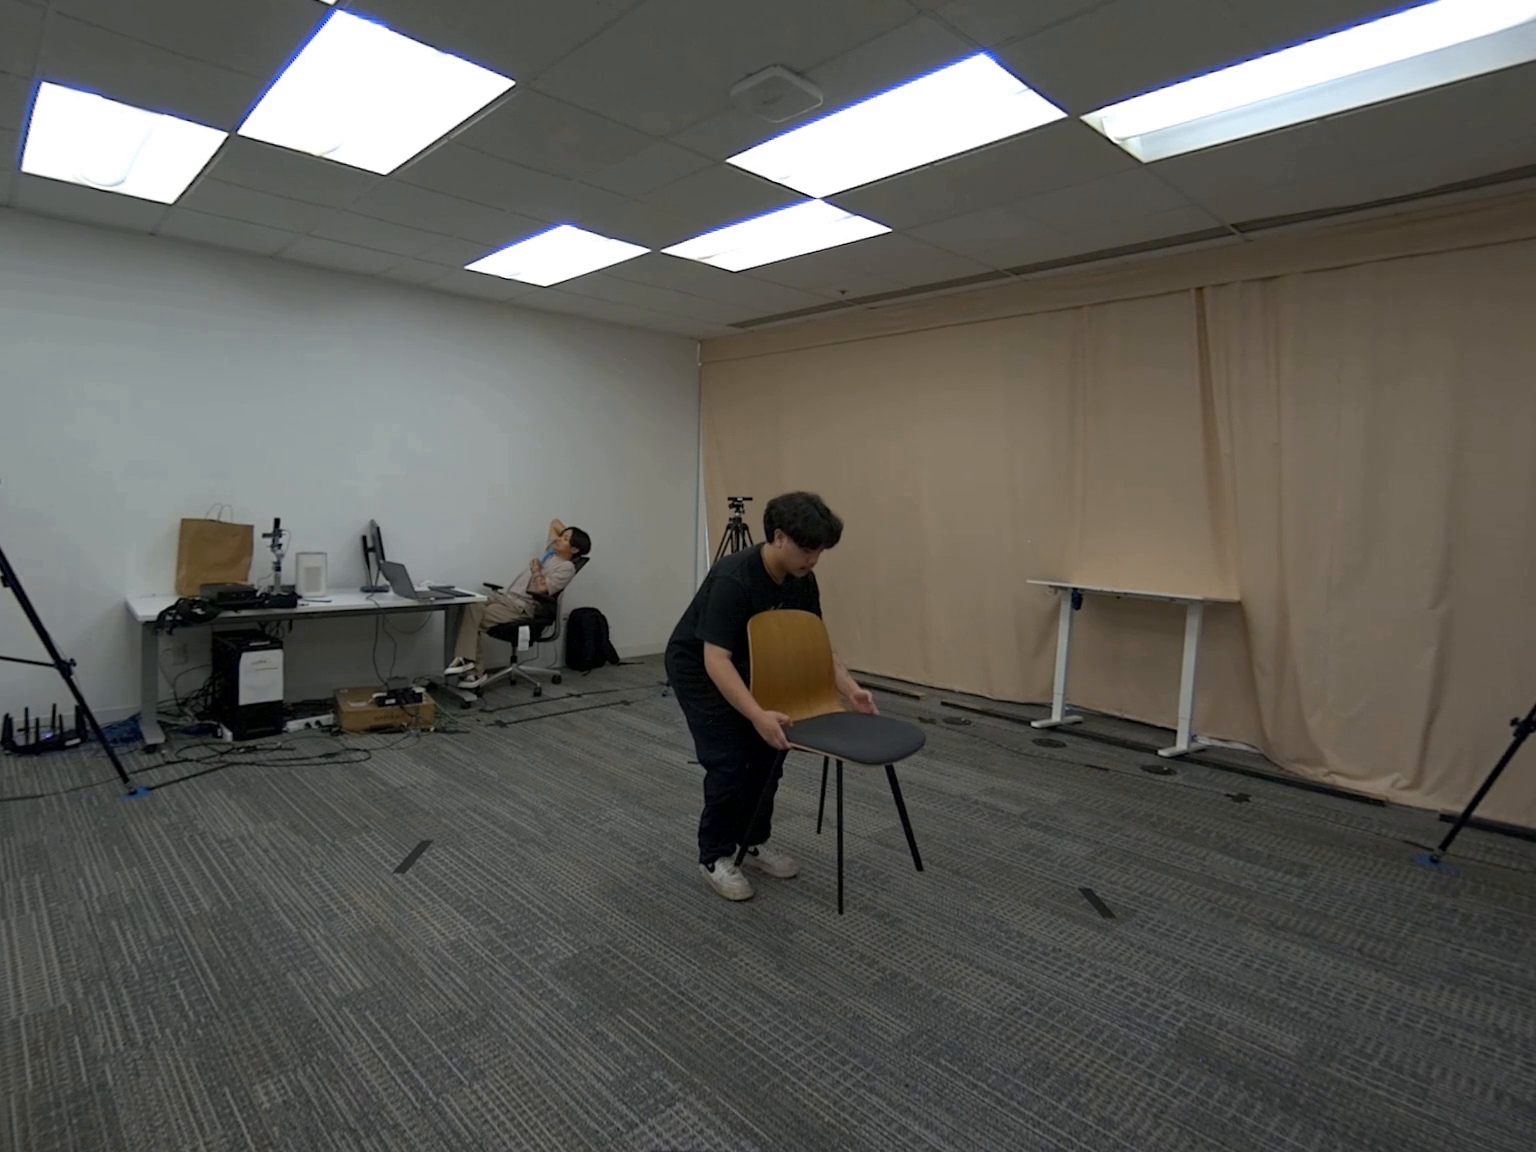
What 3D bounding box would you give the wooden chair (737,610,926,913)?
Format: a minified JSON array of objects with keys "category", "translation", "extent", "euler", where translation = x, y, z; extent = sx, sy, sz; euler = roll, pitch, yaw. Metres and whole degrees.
[{"category":"wooden chair","translation":[0.221,0.566,2.796],"extent":[0.535,0.878,0.467],"euler":[-2,0,44]}]
